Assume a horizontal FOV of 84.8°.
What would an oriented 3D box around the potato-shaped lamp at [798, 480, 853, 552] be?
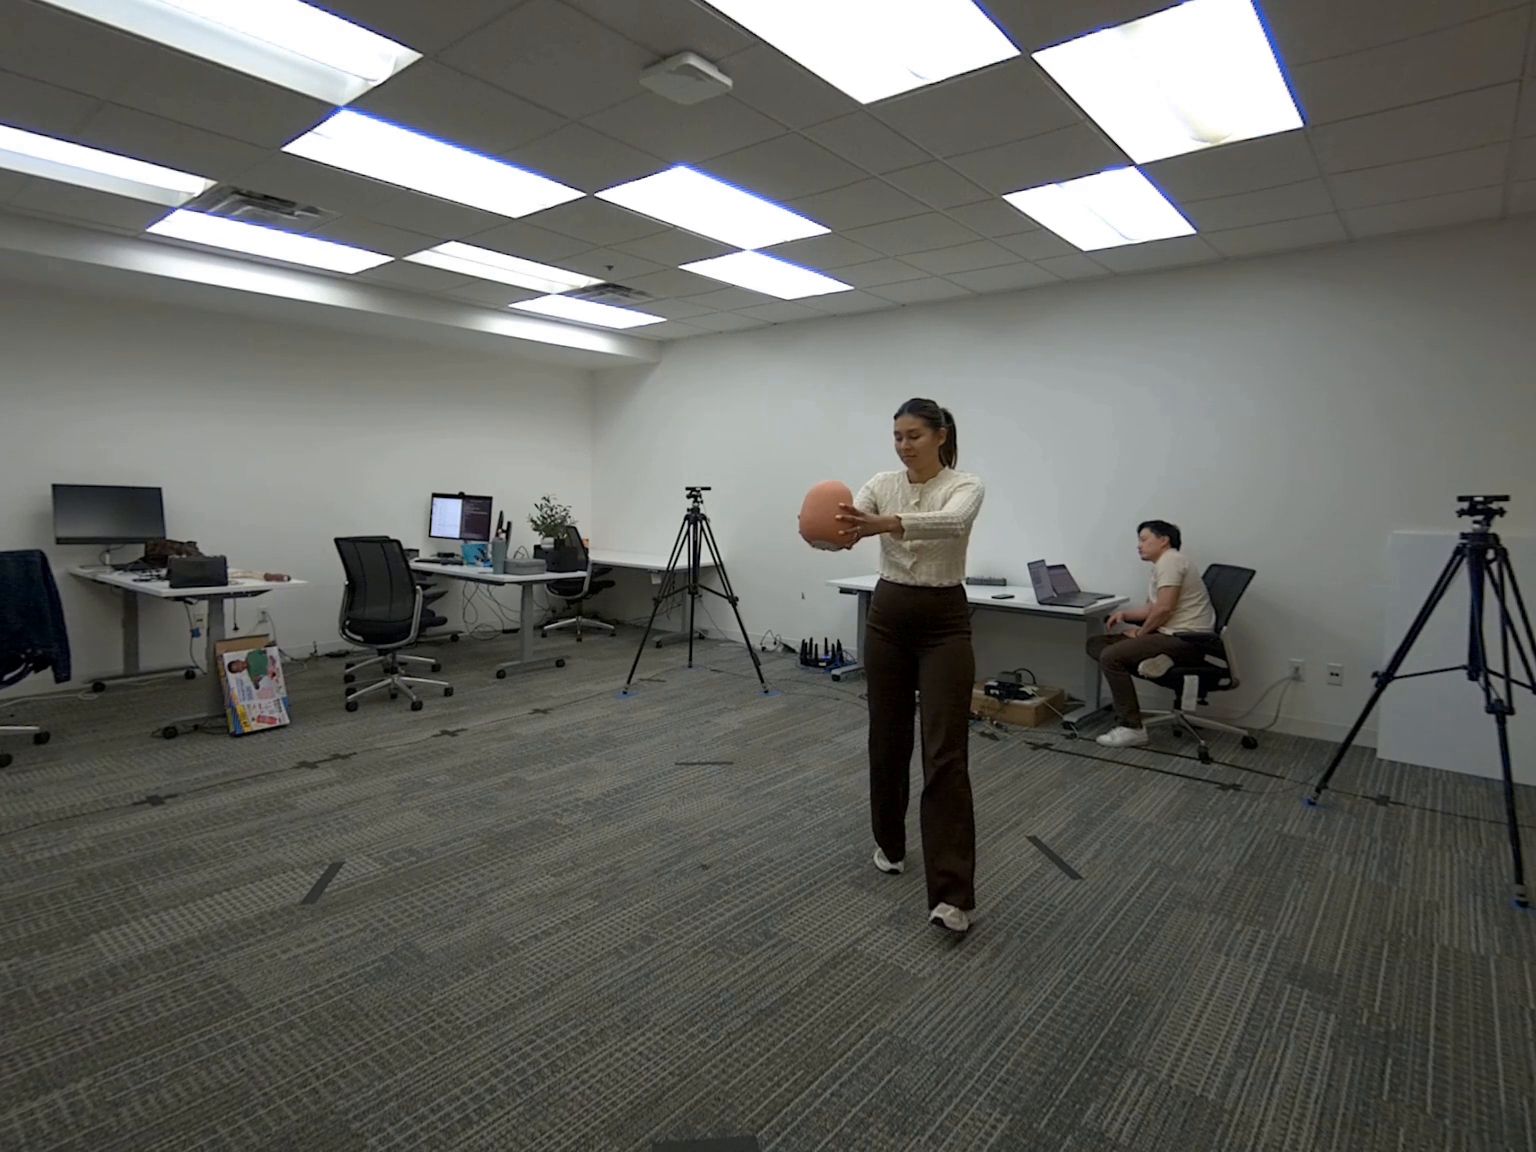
[{"bbox_3d":[0.173,-0.197,2.536,0.172,0.198,0.163,-2,0,5],"label":"potato-shaped lamp"}]
